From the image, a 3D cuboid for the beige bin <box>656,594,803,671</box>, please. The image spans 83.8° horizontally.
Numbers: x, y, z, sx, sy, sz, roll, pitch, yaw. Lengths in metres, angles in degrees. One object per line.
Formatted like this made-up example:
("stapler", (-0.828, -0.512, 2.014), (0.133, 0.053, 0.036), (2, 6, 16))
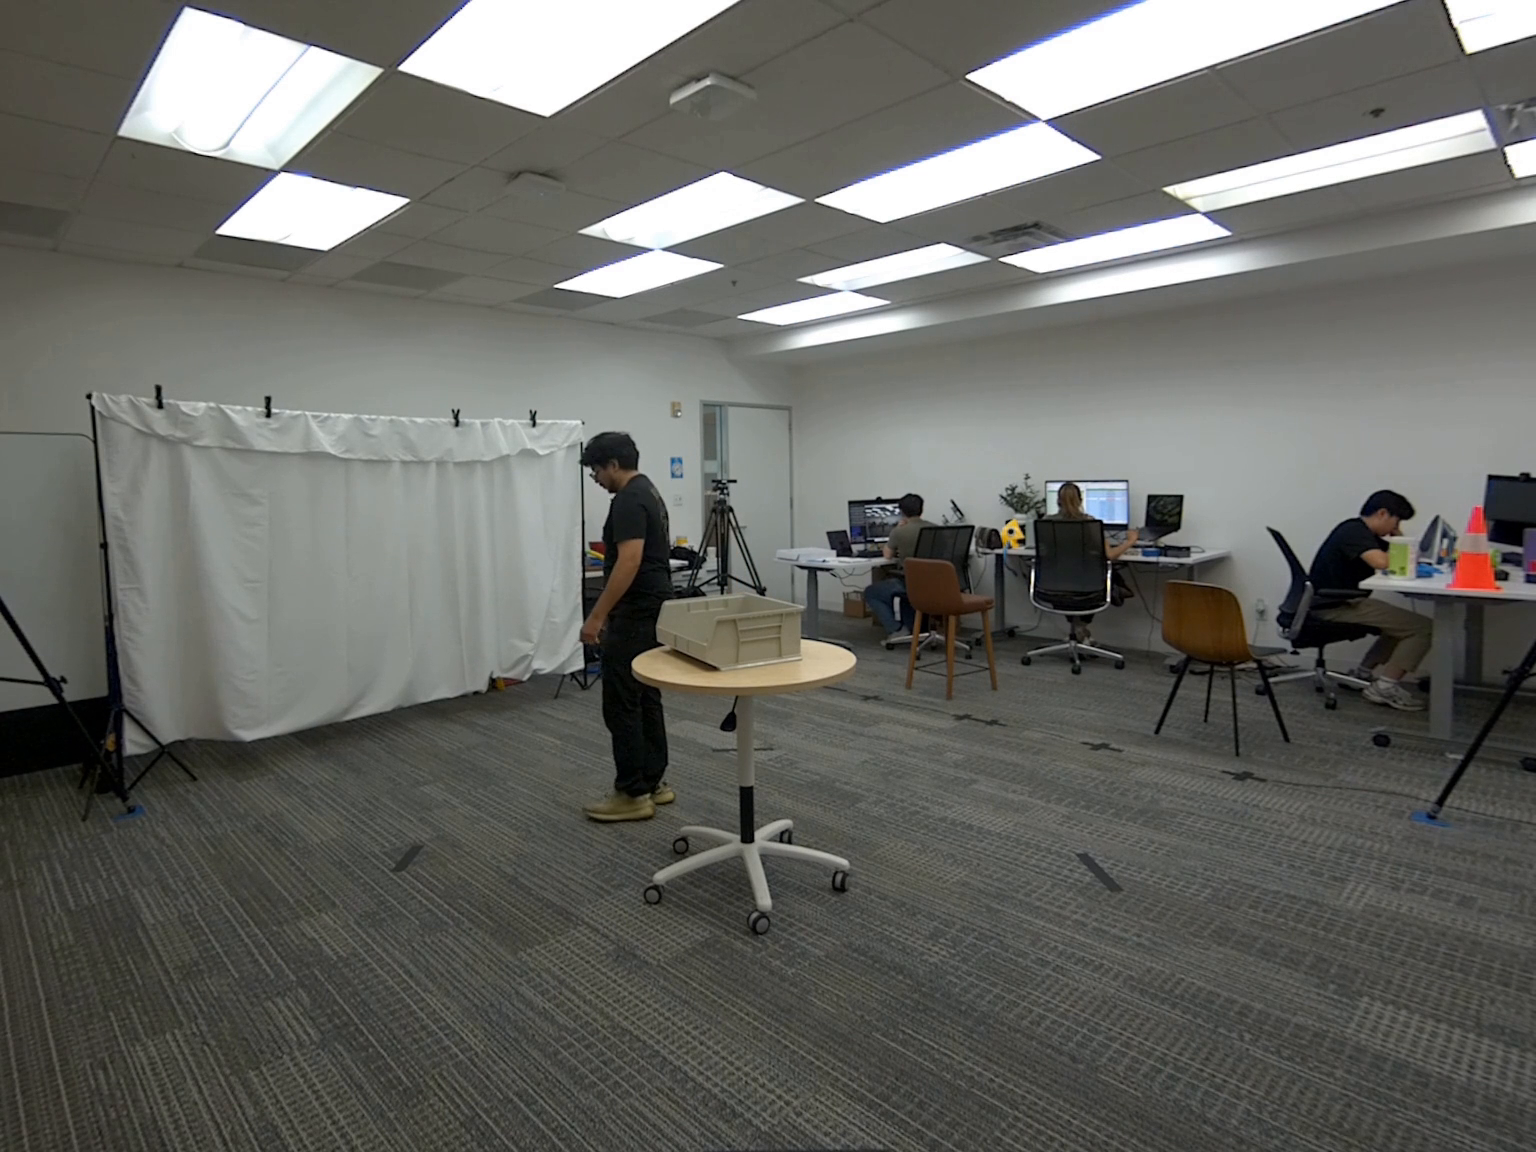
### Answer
("beige bin", (-0.137, 0.188, 2.988), (0.369, 0.188, 0.434), (-3, 6, -29))
